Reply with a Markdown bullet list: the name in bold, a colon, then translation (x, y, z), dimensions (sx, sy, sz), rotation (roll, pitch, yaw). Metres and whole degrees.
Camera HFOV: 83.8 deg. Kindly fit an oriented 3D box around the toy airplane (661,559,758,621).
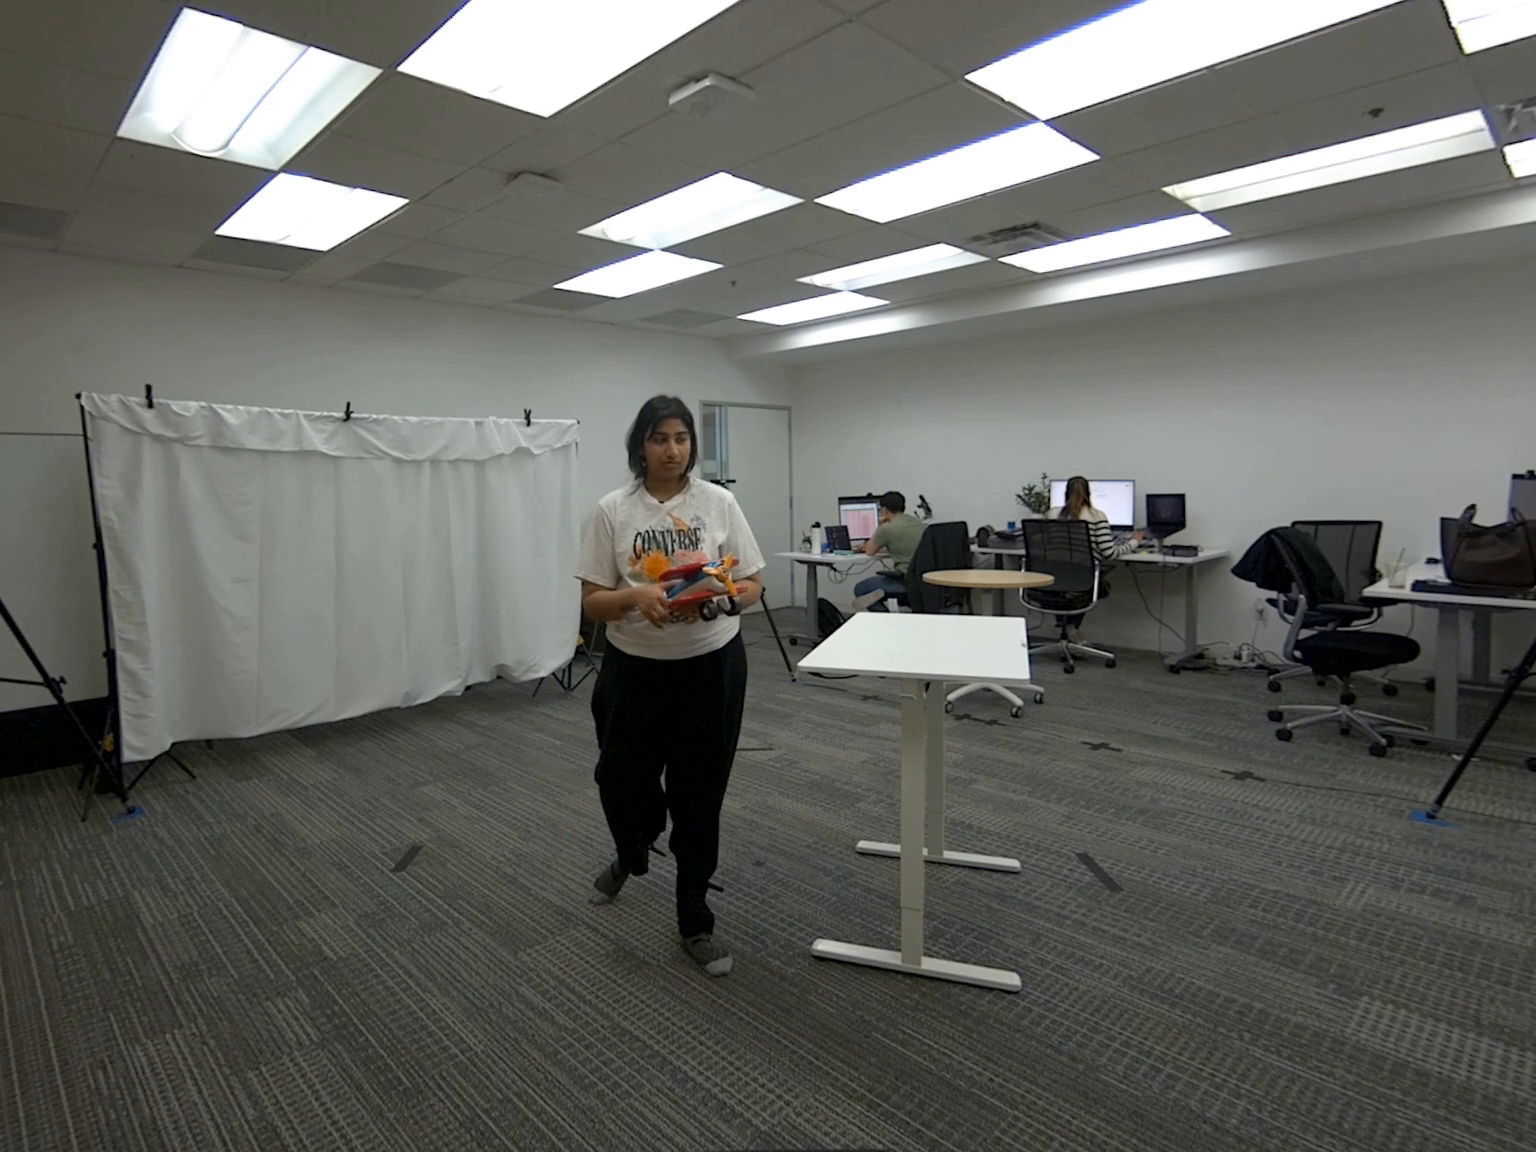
- **toy airplane**: translation (-0.197, 0.048, 2.263), dimensions (0.263, 0.156, 0.248), rotation (-8, 2, 17)
